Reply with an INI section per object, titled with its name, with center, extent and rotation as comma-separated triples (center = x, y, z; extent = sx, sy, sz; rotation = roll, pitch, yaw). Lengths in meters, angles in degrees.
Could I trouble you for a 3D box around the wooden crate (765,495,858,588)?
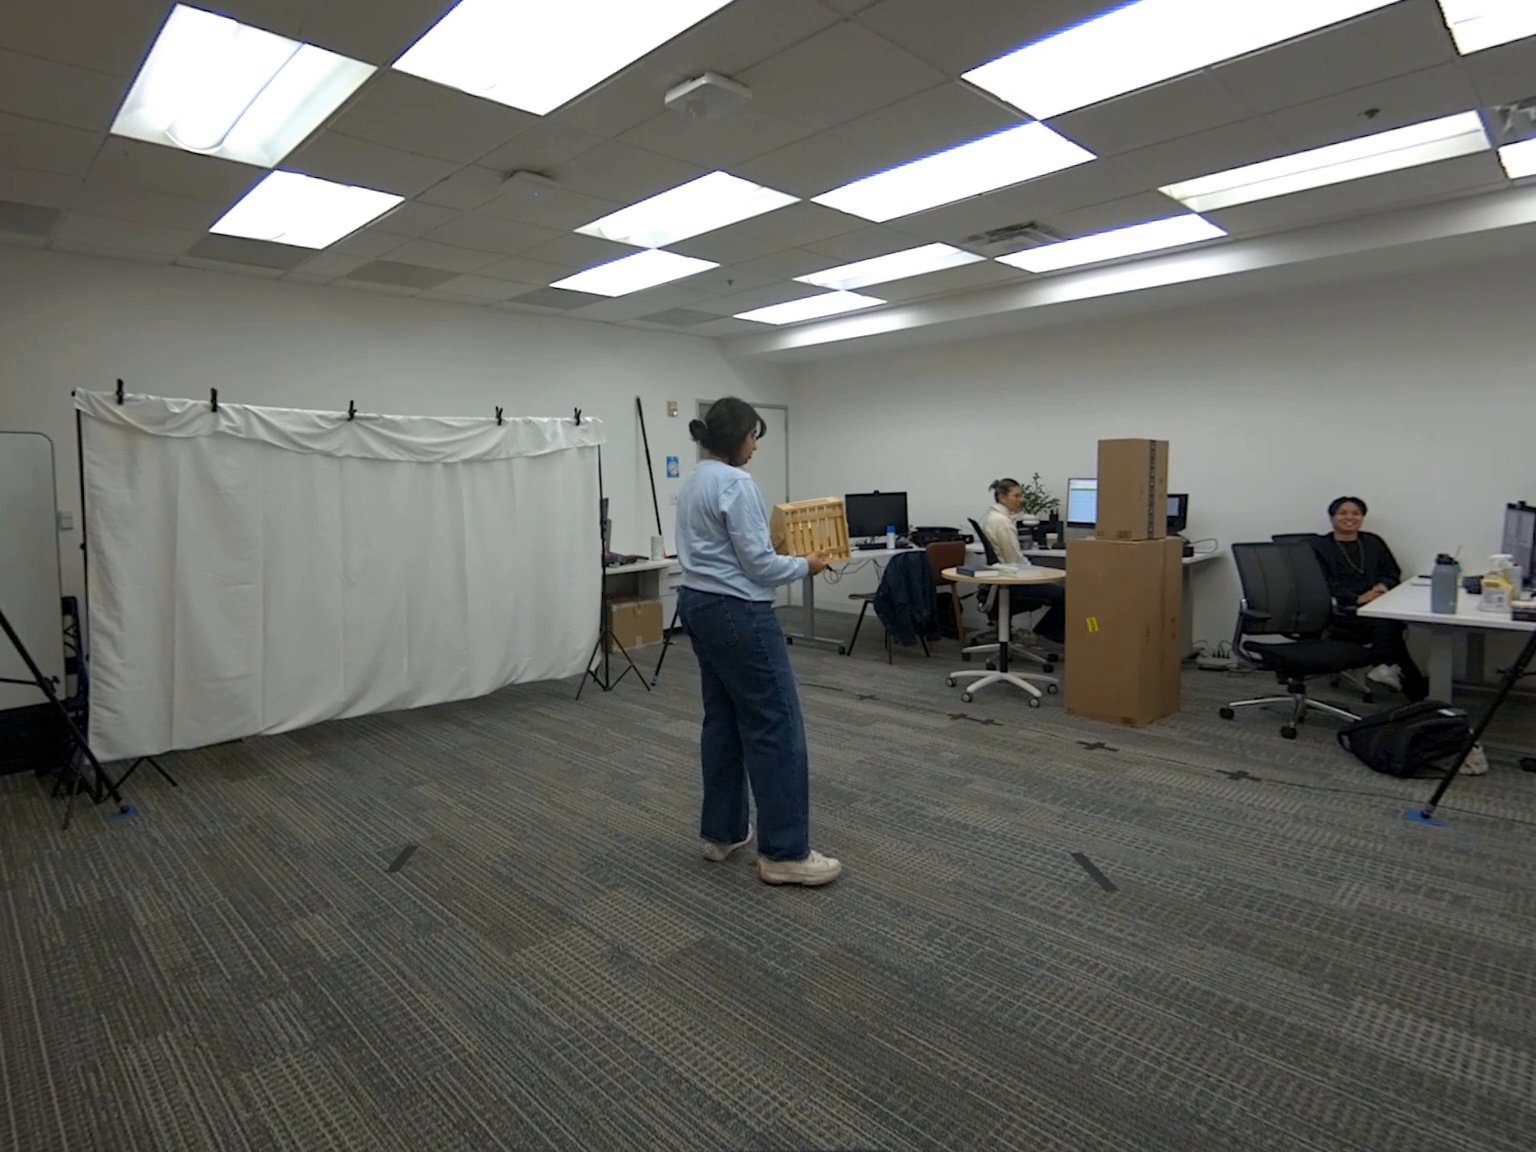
[wooden crate]
center = 0.114, -0.137, 3.334
extent = 0.317, 0.301, 0.280
rotation = -11, 5, -35
